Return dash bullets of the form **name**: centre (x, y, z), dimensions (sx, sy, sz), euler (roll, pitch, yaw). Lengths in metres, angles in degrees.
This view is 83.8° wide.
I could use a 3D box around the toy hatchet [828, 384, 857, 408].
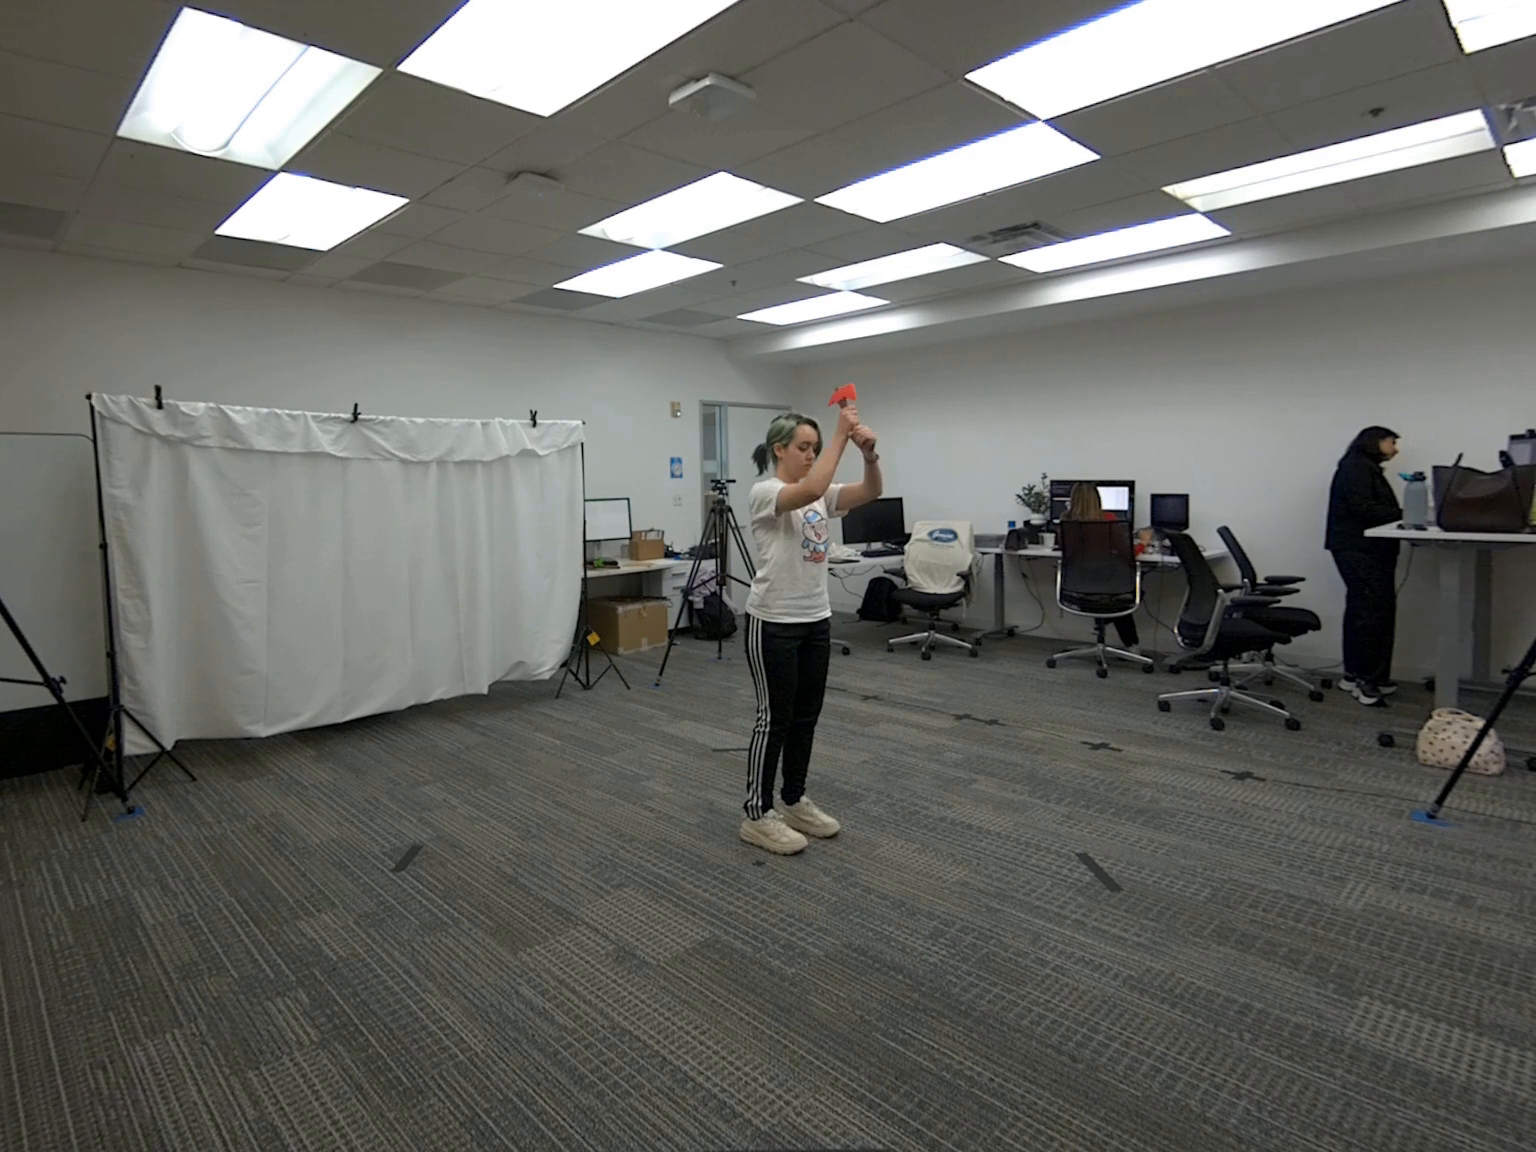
- **toy hatchet**: centre (0.320, -0.568, 3.015), dimensions (0.029, 0.130, 0.279), euler (-6, 50, -42)
